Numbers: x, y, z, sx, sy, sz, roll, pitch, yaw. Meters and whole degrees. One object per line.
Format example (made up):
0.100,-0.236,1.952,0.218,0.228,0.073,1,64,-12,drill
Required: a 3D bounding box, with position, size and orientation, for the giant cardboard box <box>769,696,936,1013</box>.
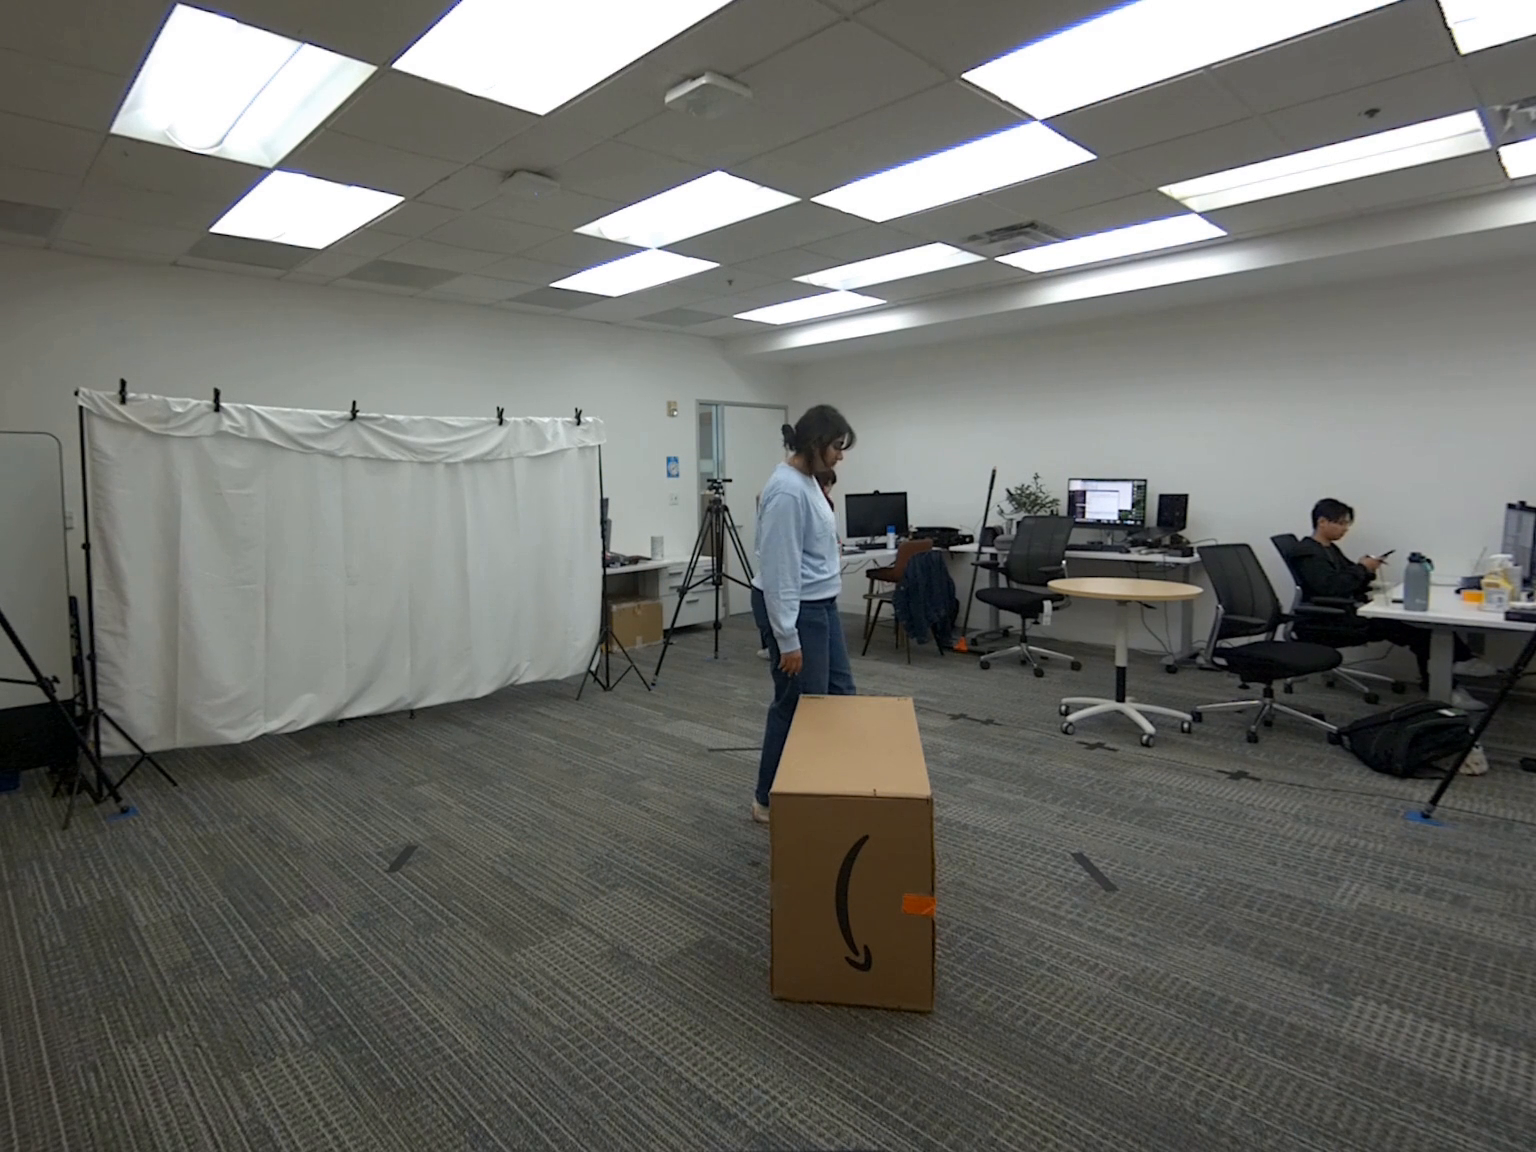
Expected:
0.283,0.795,2.731,0.430,0.575,1.022,0,6,7,giant cardboard box
